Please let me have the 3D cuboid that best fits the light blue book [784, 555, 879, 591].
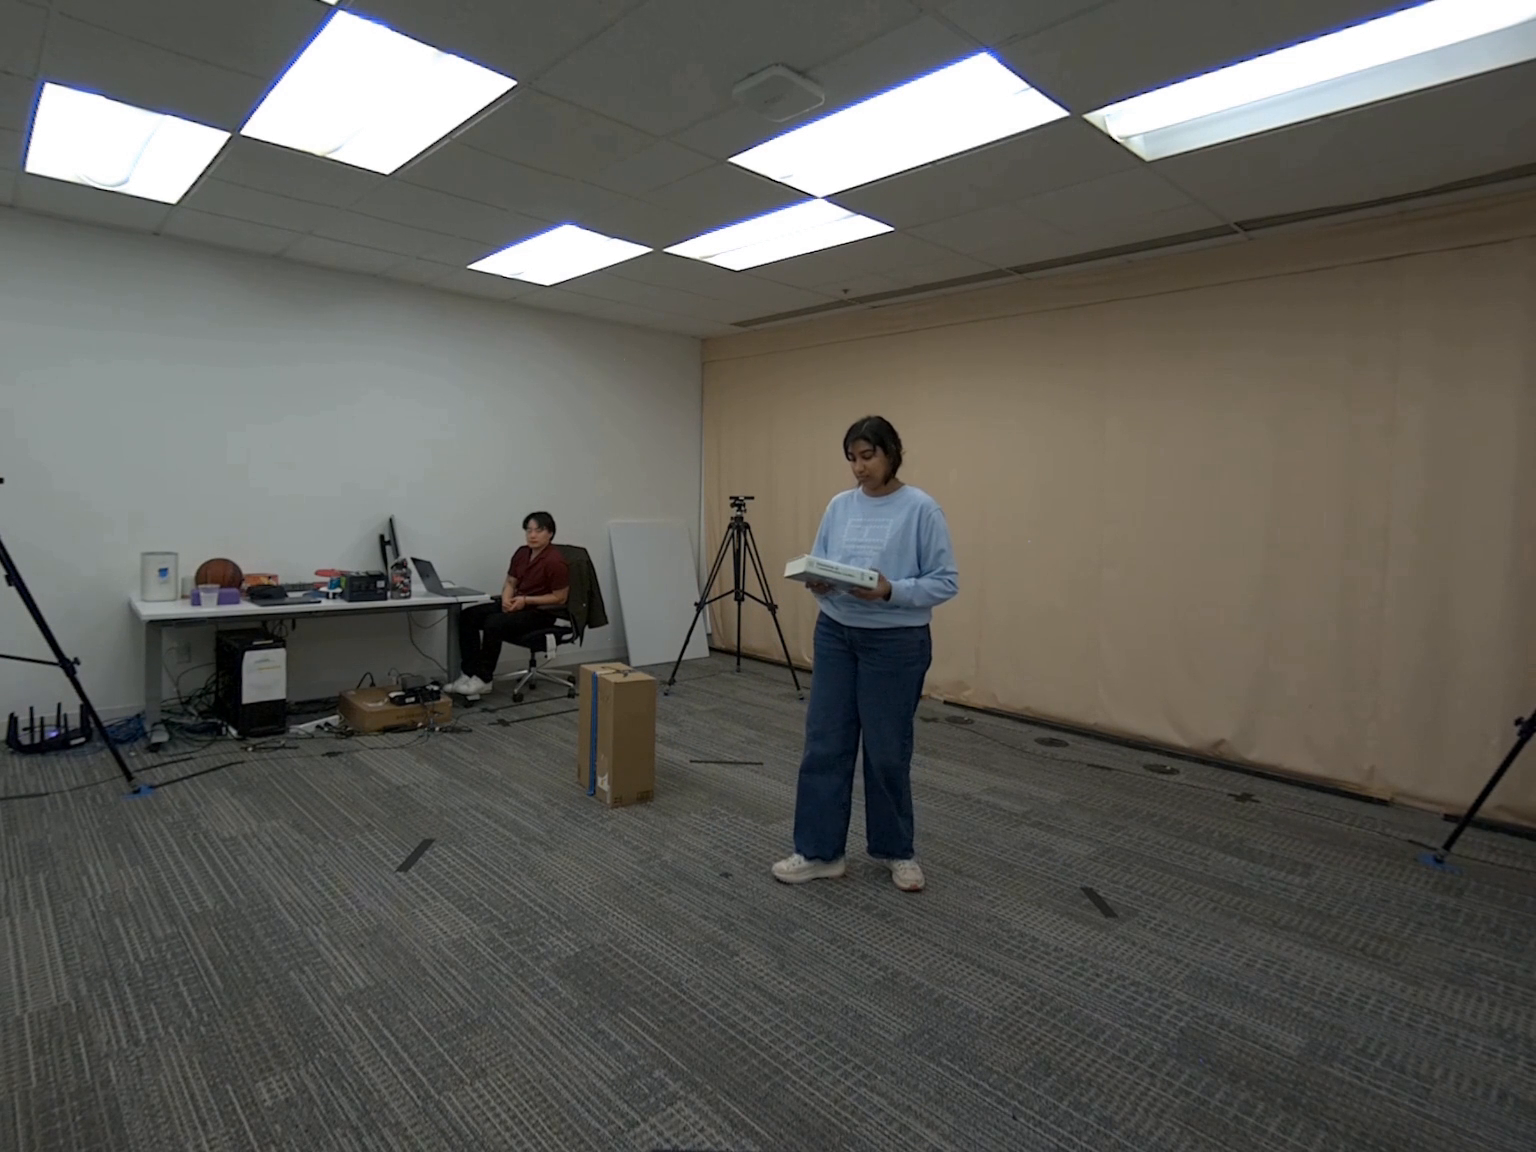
[{"bbox_3d":[0.203,-0.002,2.800,0.257,0.059,0.193,14,-10,-17],"label":"light blue book"}]
